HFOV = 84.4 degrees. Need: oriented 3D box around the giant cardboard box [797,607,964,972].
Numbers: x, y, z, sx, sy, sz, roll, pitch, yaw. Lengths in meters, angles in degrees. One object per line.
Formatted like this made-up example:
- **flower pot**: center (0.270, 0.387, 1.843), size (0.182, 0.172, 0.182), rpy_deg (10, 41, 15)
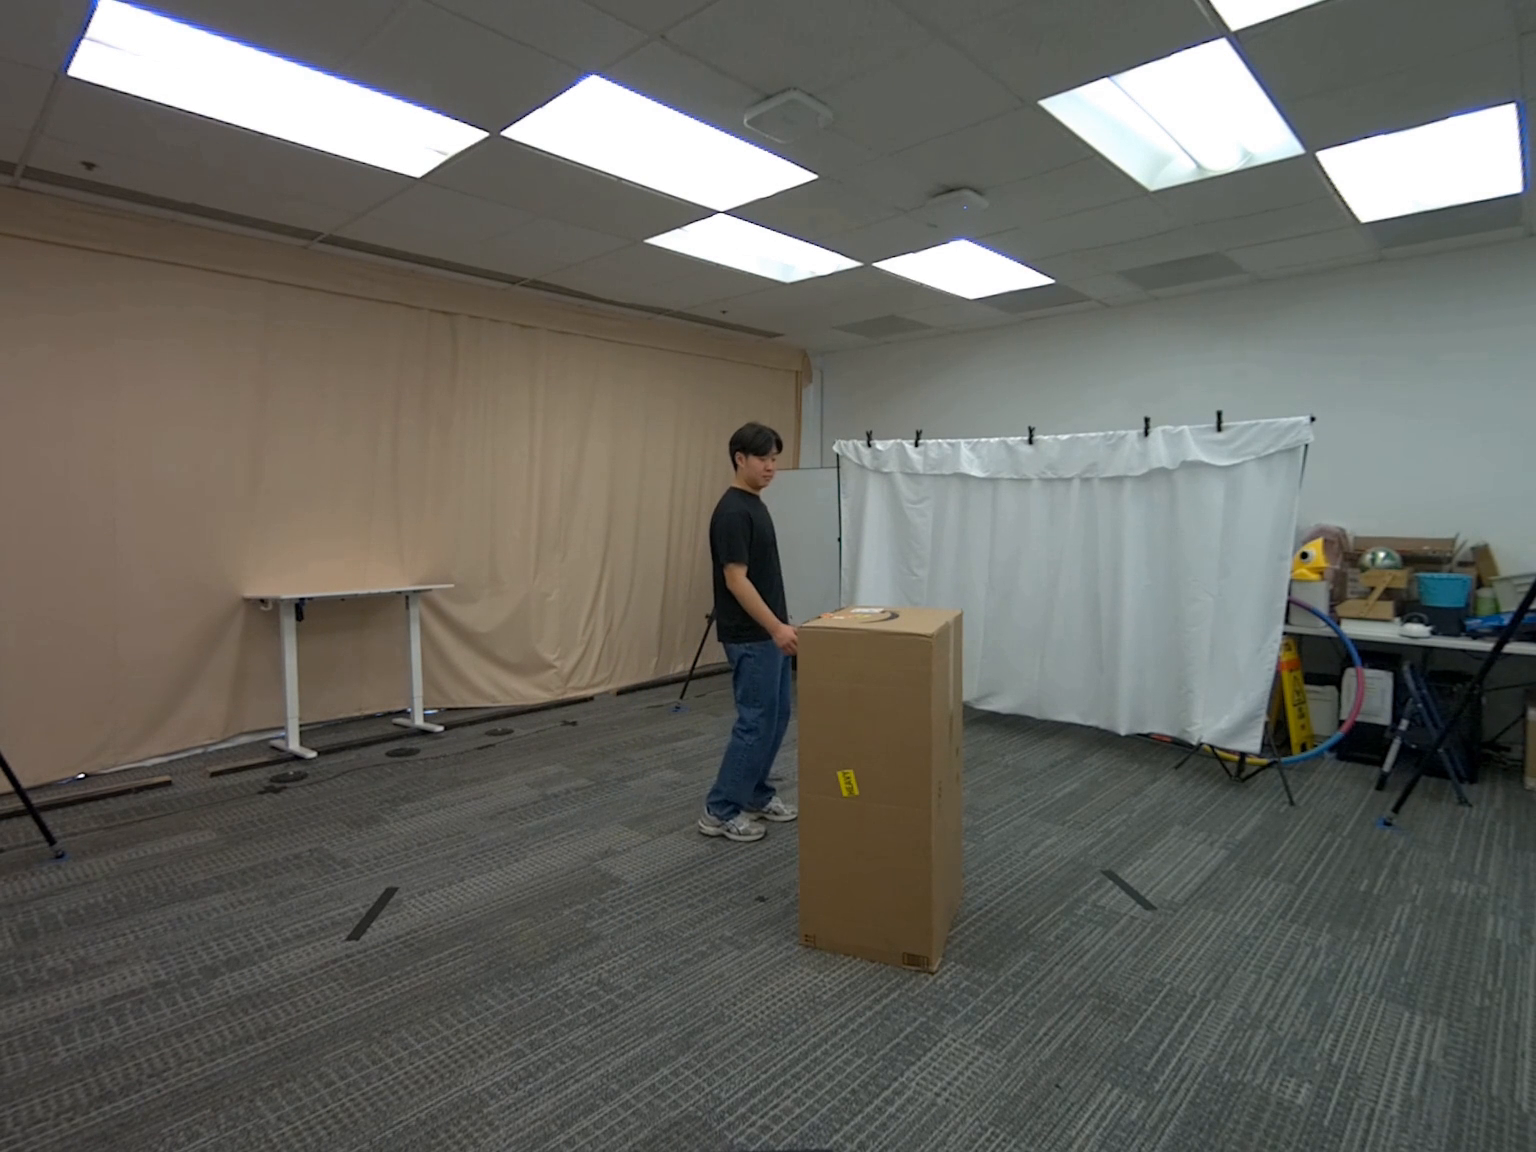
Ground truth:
- **giant cardboard box**: center (0.396, 0.644, 2.816), size (0.458, 1.025, 0.570), rpy_deg (0, 3, 24)
